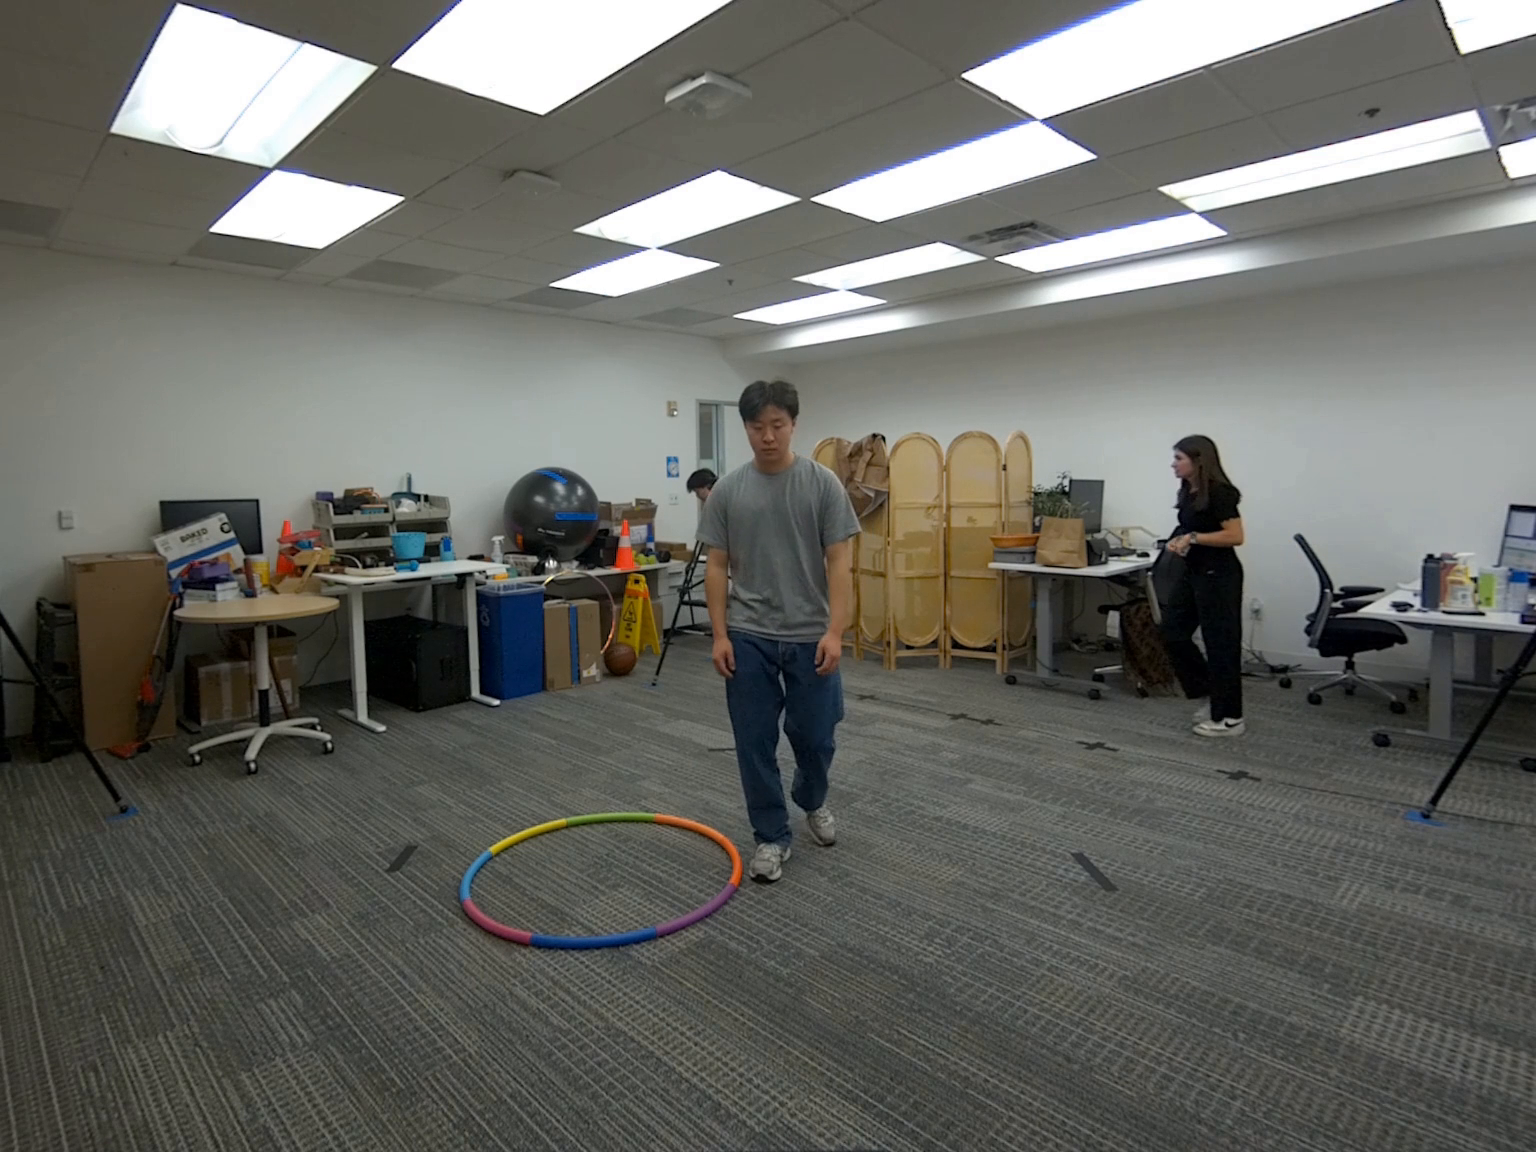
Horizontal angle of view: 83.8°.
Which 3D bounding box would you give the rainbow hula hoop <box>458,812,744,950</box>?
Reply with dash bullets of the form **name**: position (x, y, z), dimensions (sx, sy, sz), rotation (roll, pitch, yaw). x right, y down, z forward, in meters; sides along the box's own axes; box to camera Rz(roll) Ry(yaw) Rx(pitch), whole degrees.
- **rainbow hula hoop**: position (-0.577, 1.030, 3.041), dimensions (0.978, 0.035, 0.984), rotation (-1, 7, -2)
